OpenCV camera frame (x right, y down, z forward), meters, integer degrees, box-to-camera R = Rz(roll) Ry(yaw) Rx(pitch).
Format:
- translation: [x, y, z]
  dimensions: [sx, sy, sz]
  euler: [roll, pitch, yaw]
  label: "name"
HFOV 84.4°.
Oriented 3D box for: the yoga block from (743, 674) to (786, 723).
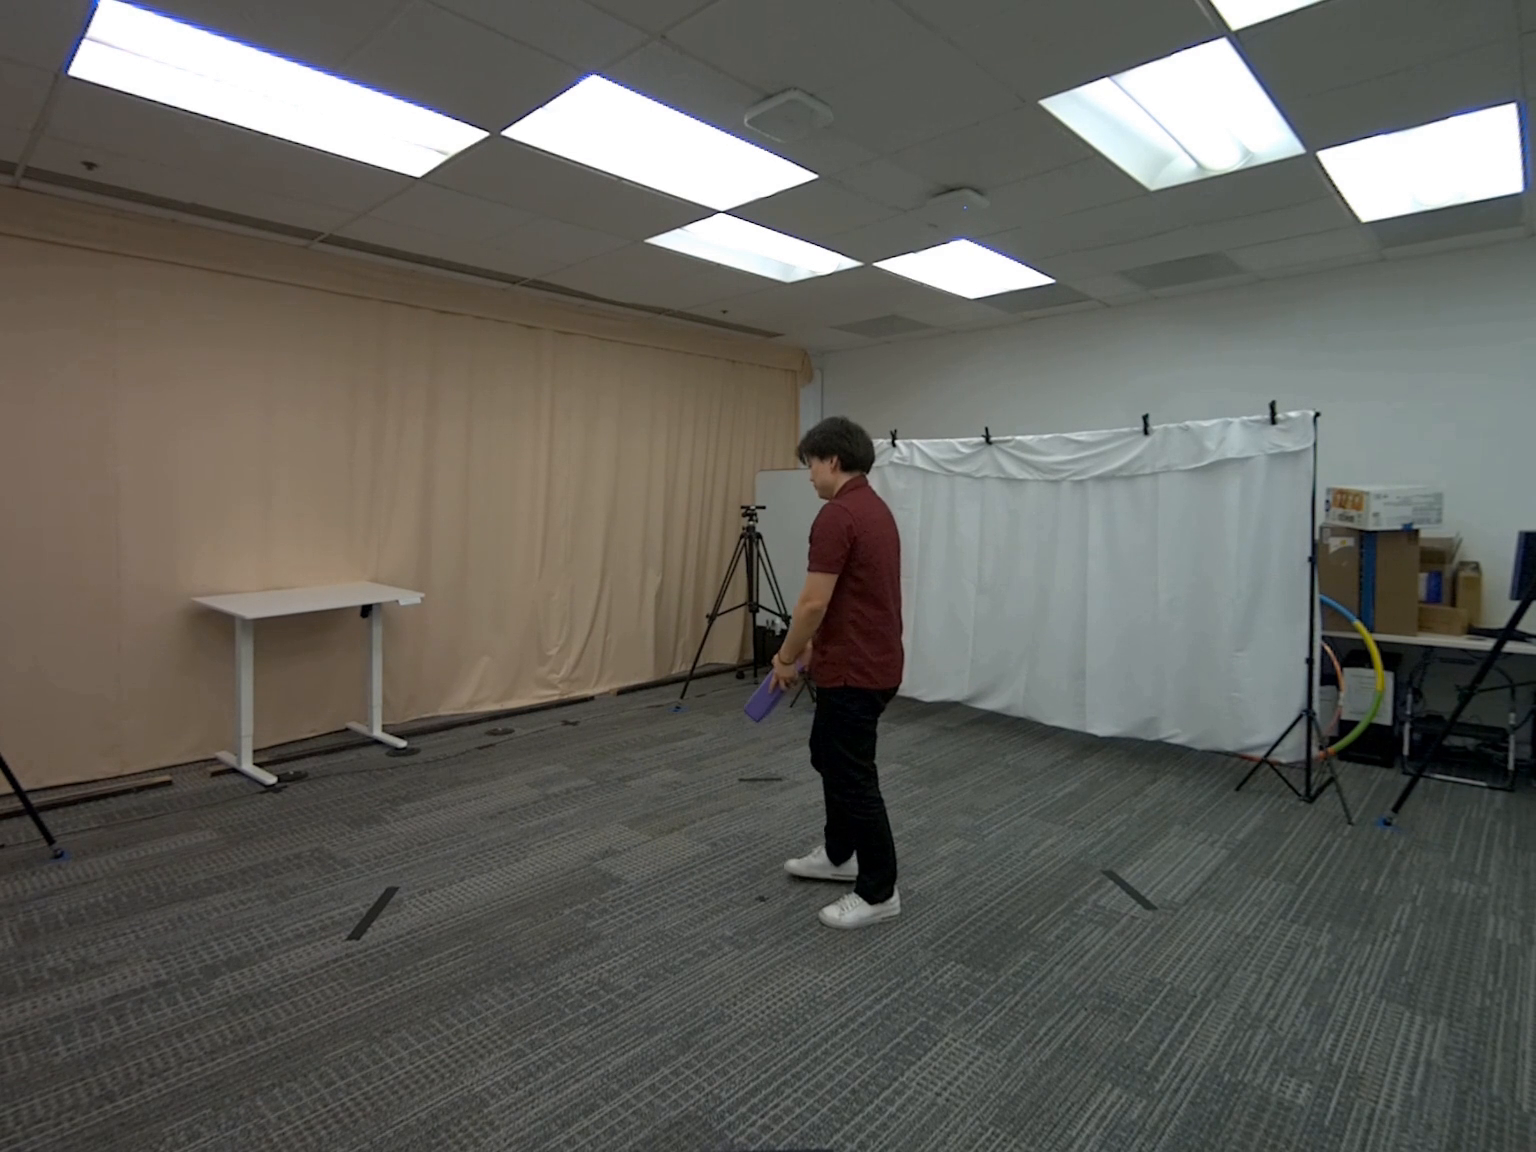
- translation: [0.007, 0.379, 2.961]
  dimensions: [0.077, 0.229, 0.146]
  euler: [38, 18, 11]
  label: "yoga block"
